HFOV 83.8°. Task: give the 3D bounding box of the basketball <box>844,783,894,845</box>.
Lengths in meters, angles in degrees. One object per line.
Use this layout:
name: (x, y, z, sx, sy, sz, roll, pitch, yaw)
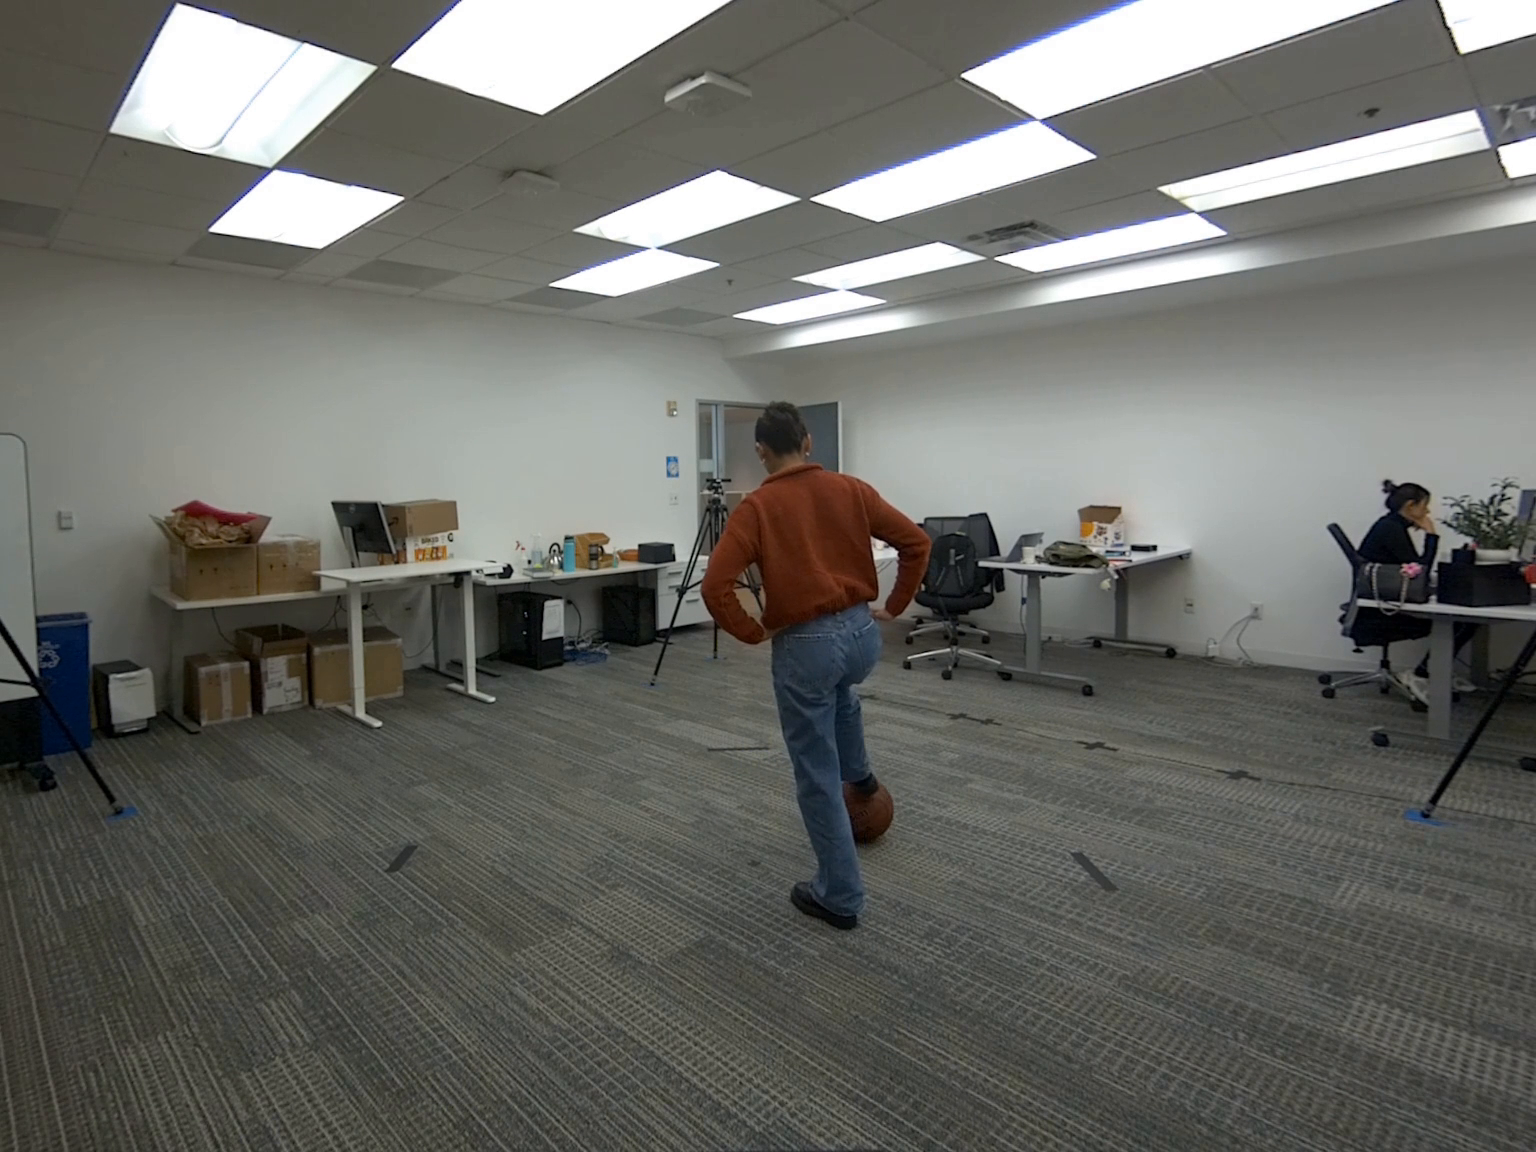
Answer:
basketball: (0.368, 0.899, 3.300, 0.236, 0.235, 0.237, -1, 5, -2)
